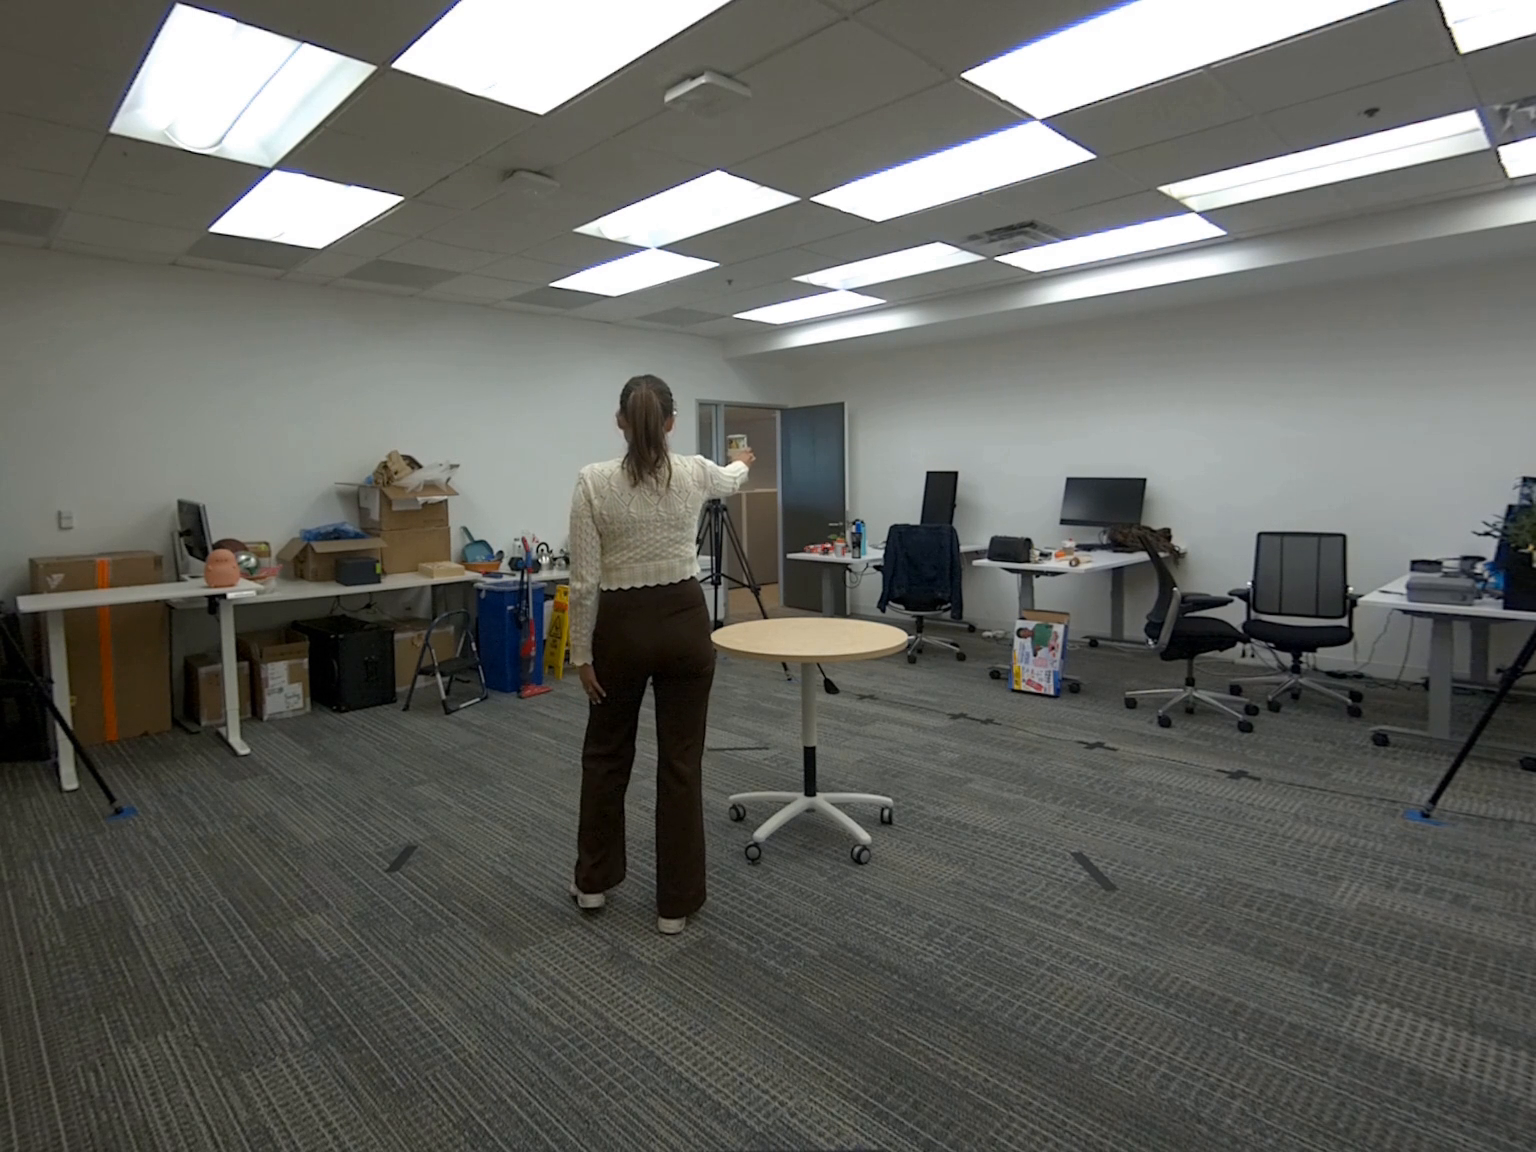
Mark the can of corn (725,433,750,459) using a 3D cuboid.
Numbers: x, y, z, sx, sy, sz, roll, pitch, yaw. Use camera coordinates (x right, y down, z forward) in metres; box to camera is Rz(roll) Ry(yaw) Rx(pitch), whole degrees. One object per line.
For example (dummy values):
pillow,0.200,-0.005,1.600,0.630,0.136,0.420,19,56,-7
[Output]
can of corn,-0.120,-0.486,3.302,0.074,0.109,0.075,-3,17,-1
